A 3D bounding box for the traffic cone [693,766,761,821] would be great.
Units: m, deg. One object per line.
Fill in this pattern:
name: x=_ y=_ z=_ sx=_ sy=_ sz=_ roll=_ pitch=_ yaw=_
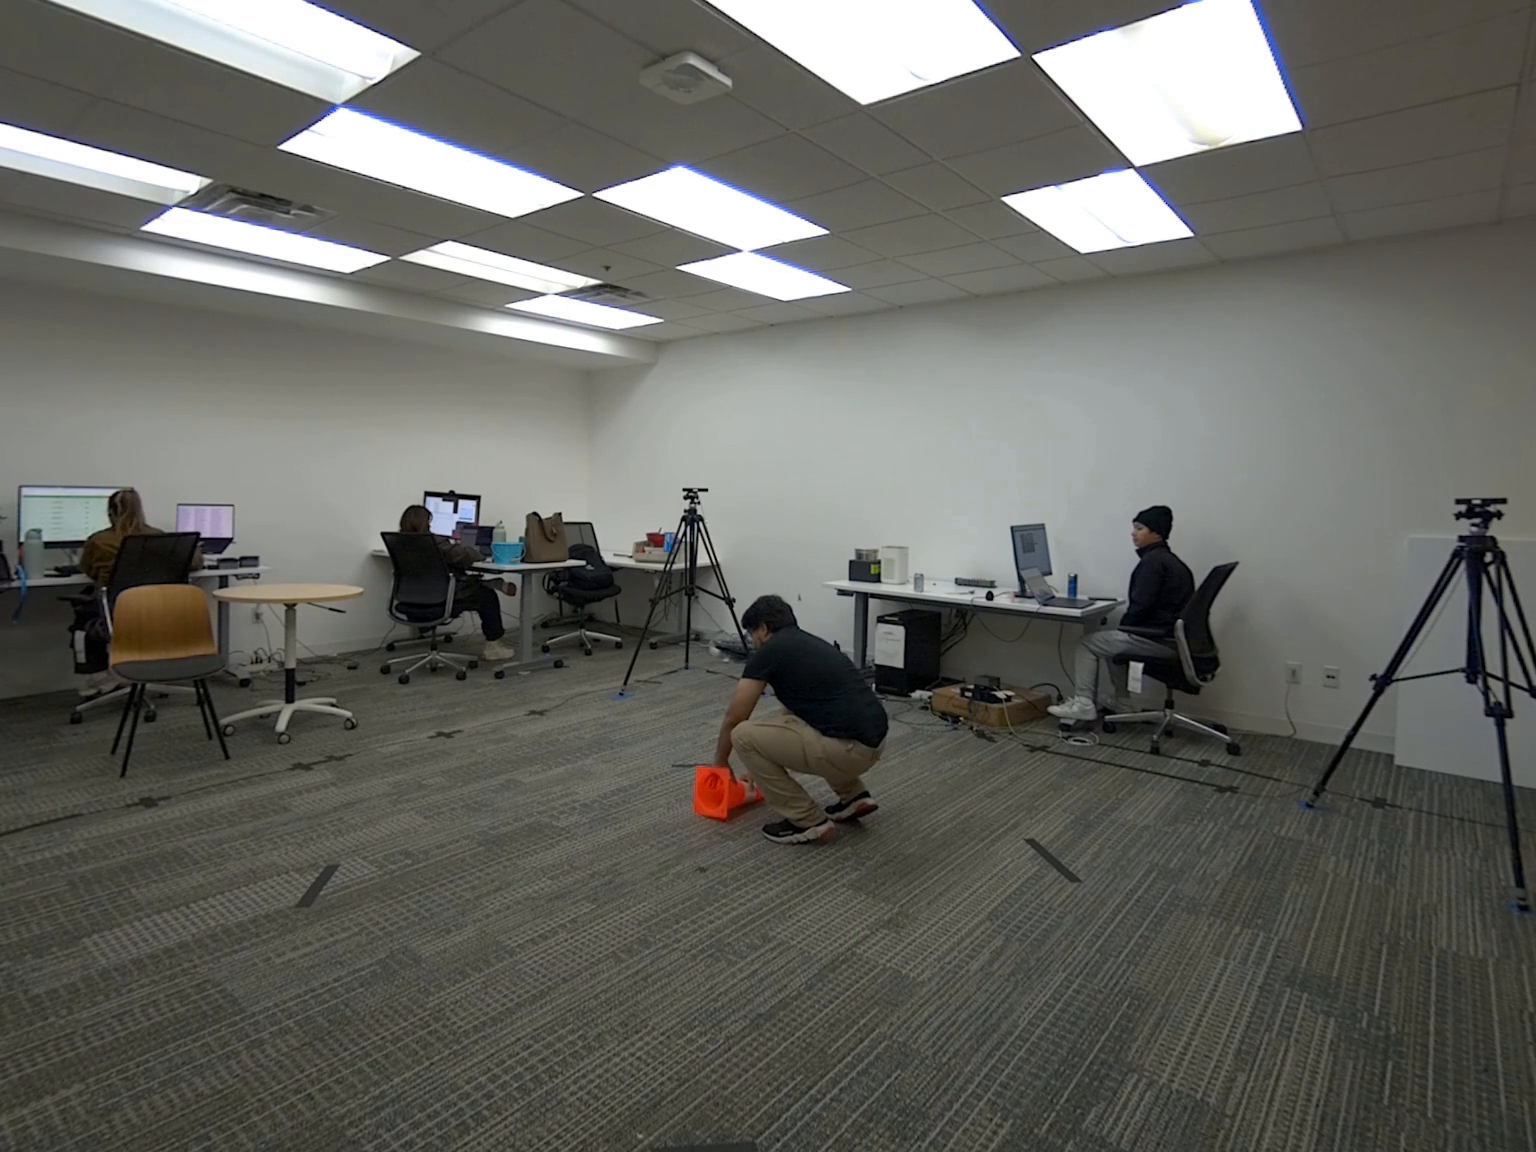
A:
traffic cone: x=-0.137 y=0.957 z=3.757 sx=0.211 sy=0.206 sz=0.369 roll=-6 pitch=-17 yaw=39
